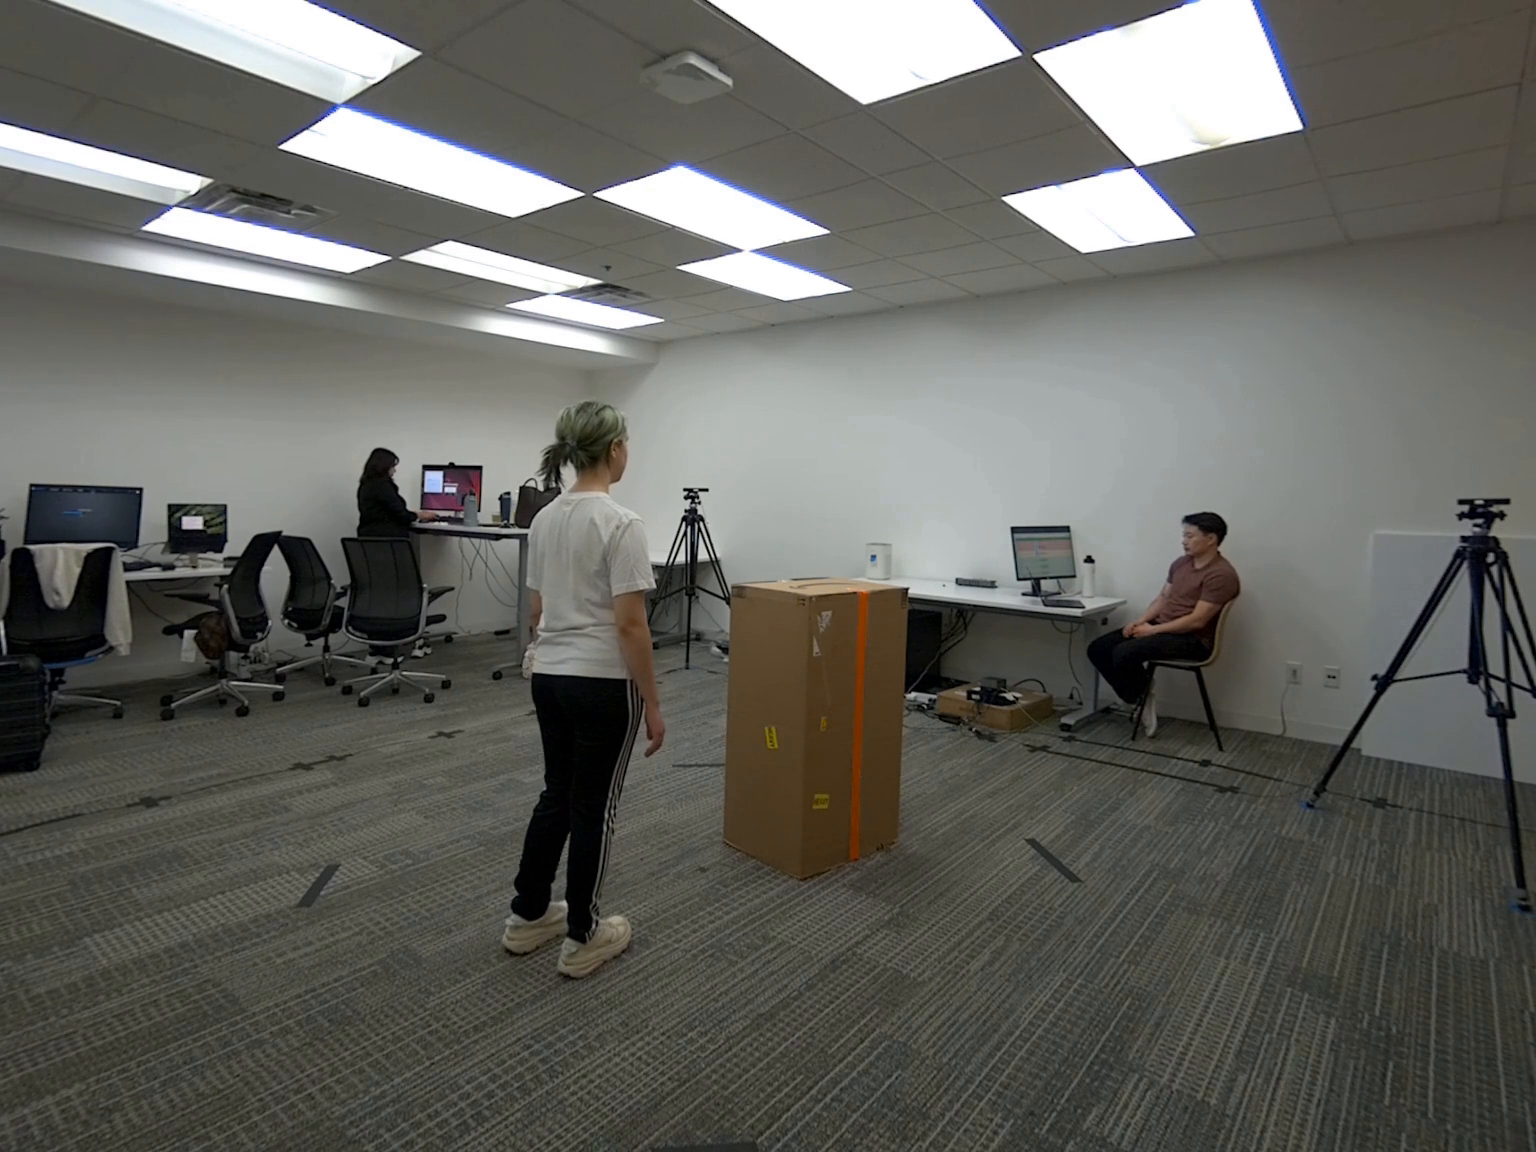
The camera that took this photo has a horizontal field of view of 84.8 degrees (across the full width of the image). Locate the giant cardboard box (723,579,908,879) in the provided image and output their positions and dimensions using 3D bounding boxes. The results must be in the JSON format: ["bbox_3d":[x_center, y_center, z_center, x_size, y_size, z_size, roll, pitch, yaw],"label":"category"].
[{"bbox_3d":[0.183,0.547,3.352,0.566,1.025,0.462,-1,3,-44],"label":"giant cardboard box"}]
